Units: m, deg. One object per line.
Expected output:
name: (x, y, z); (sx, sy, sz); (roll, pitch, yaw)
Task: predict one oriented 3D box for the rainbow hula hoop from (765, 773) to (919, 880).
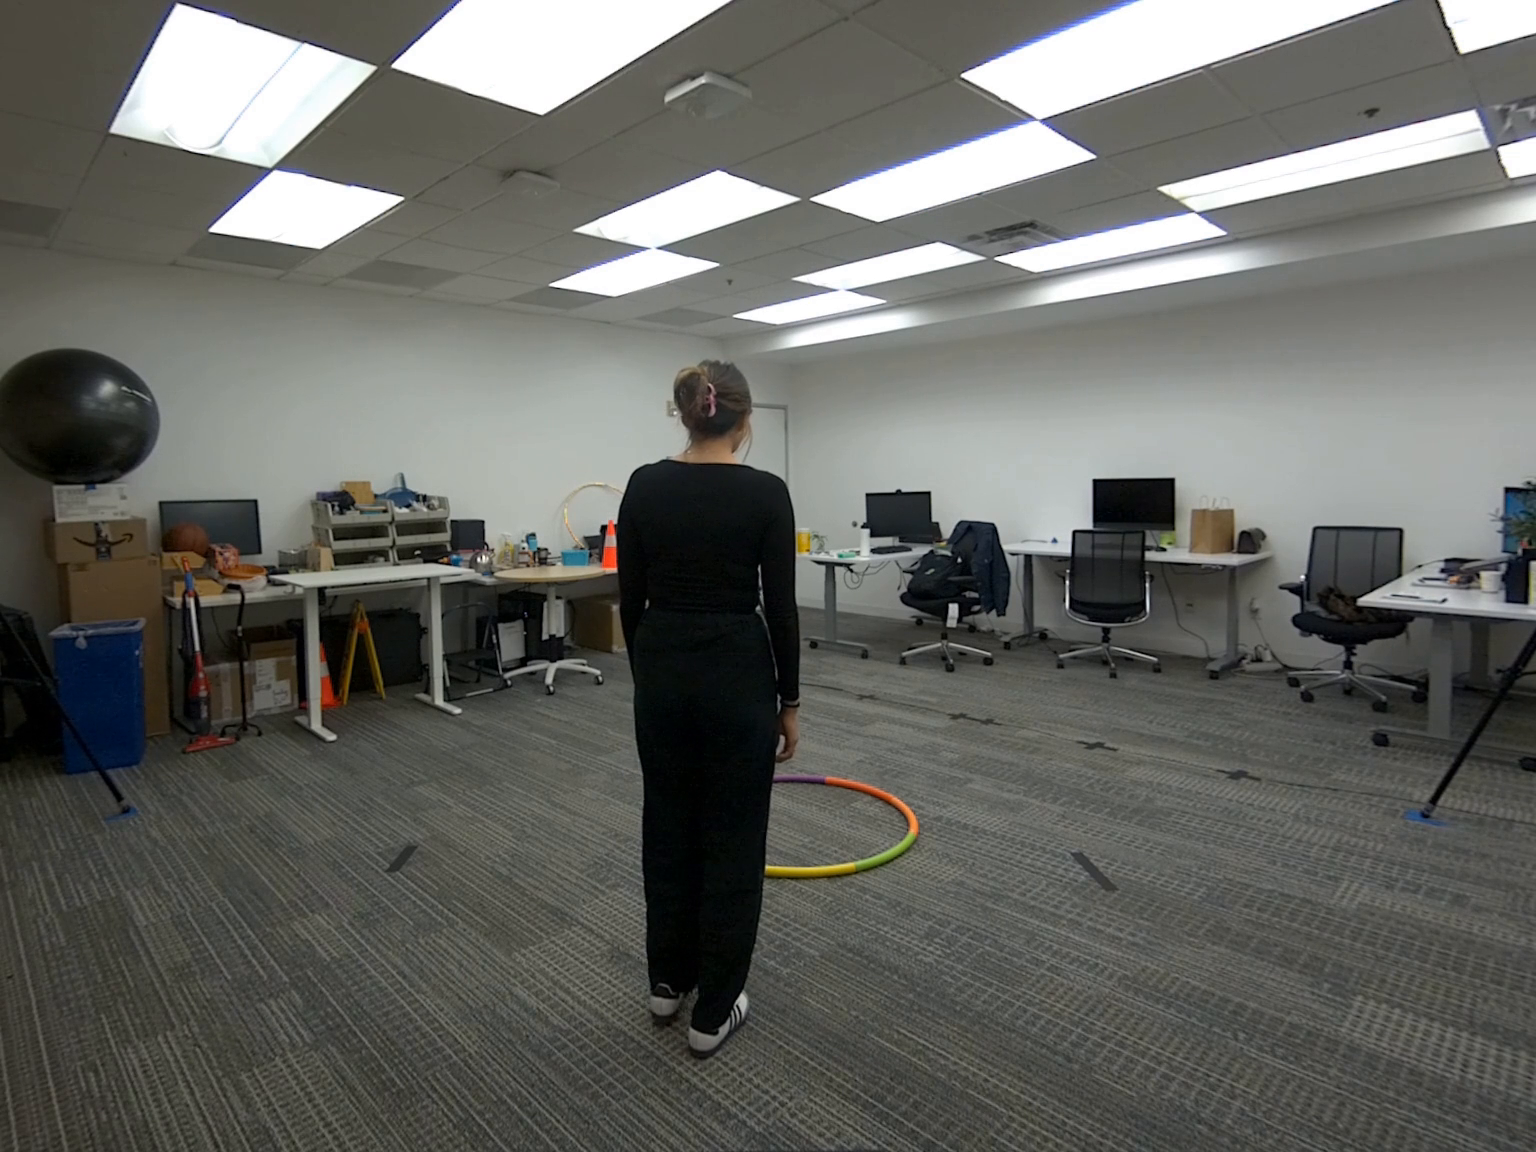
rainbow hula hoop: (0.098, 0.970, 3.457); (0.978, 0.035, 0.984); (-1, 7, -2)
